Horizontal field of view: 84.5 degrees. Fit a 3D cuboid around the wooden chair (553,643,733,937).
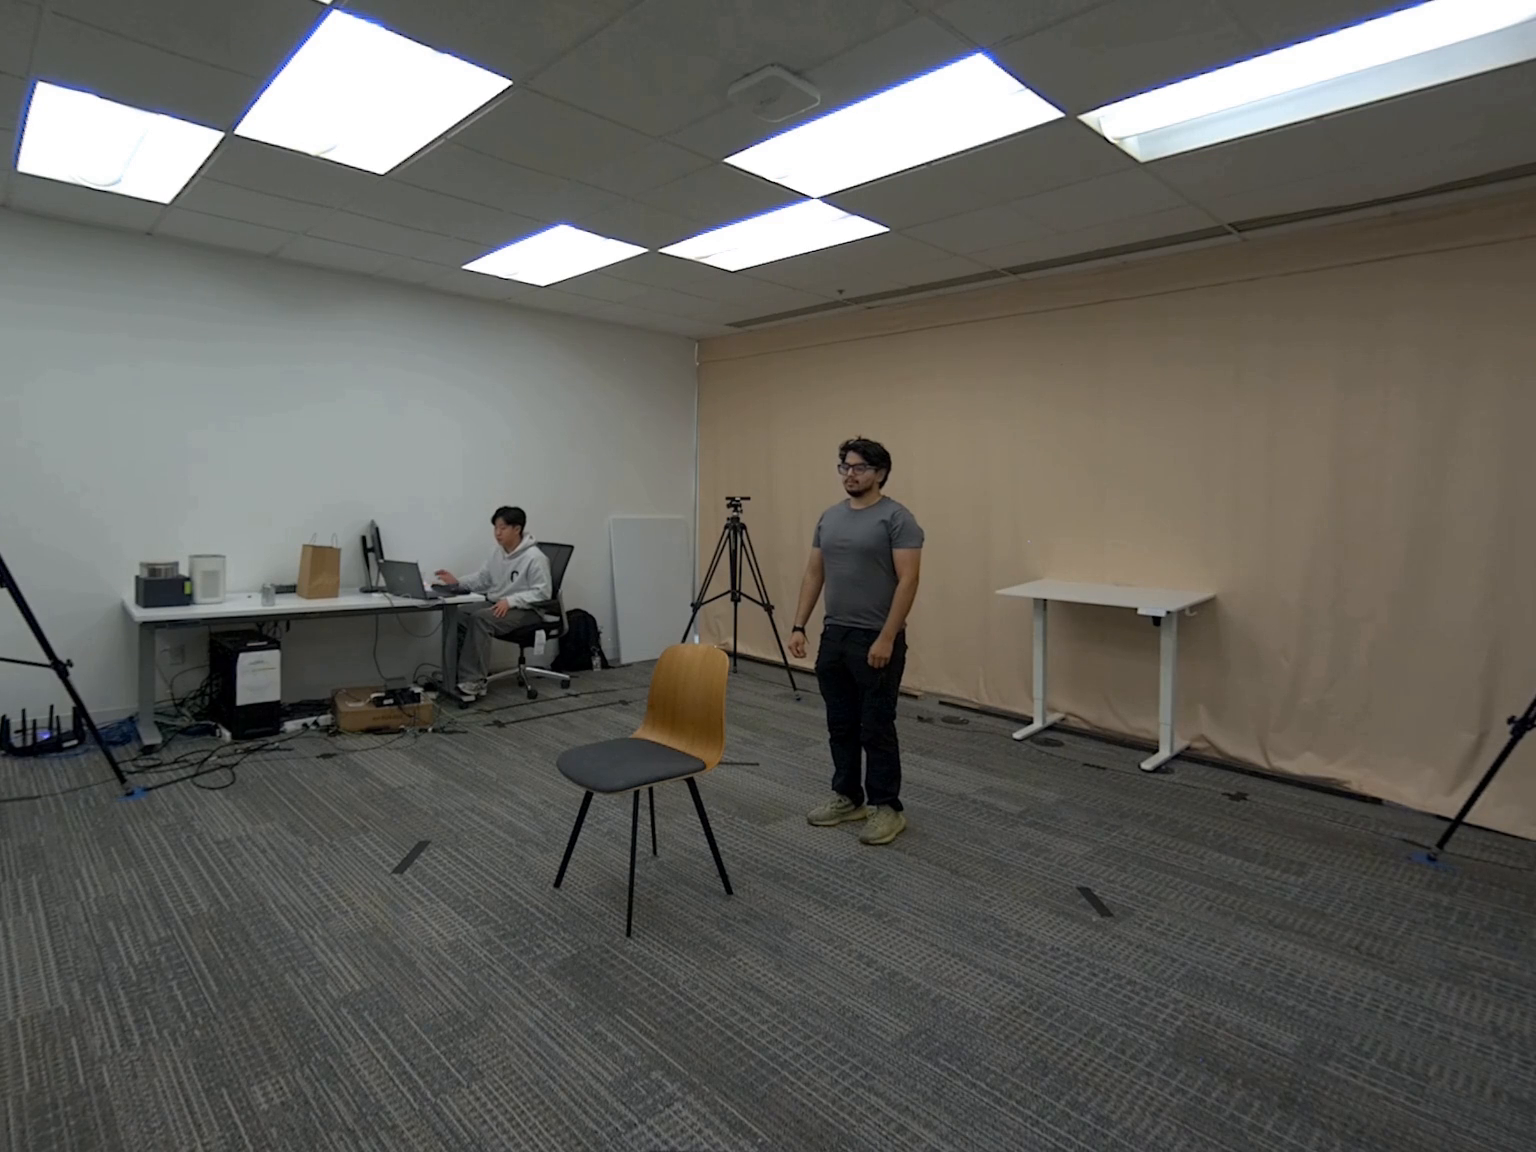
[{"bbox_3d":[-0.442,0.690,2.932,0.510,0.877,0.490,4,0,-44],"label":"wooden chair"}]
